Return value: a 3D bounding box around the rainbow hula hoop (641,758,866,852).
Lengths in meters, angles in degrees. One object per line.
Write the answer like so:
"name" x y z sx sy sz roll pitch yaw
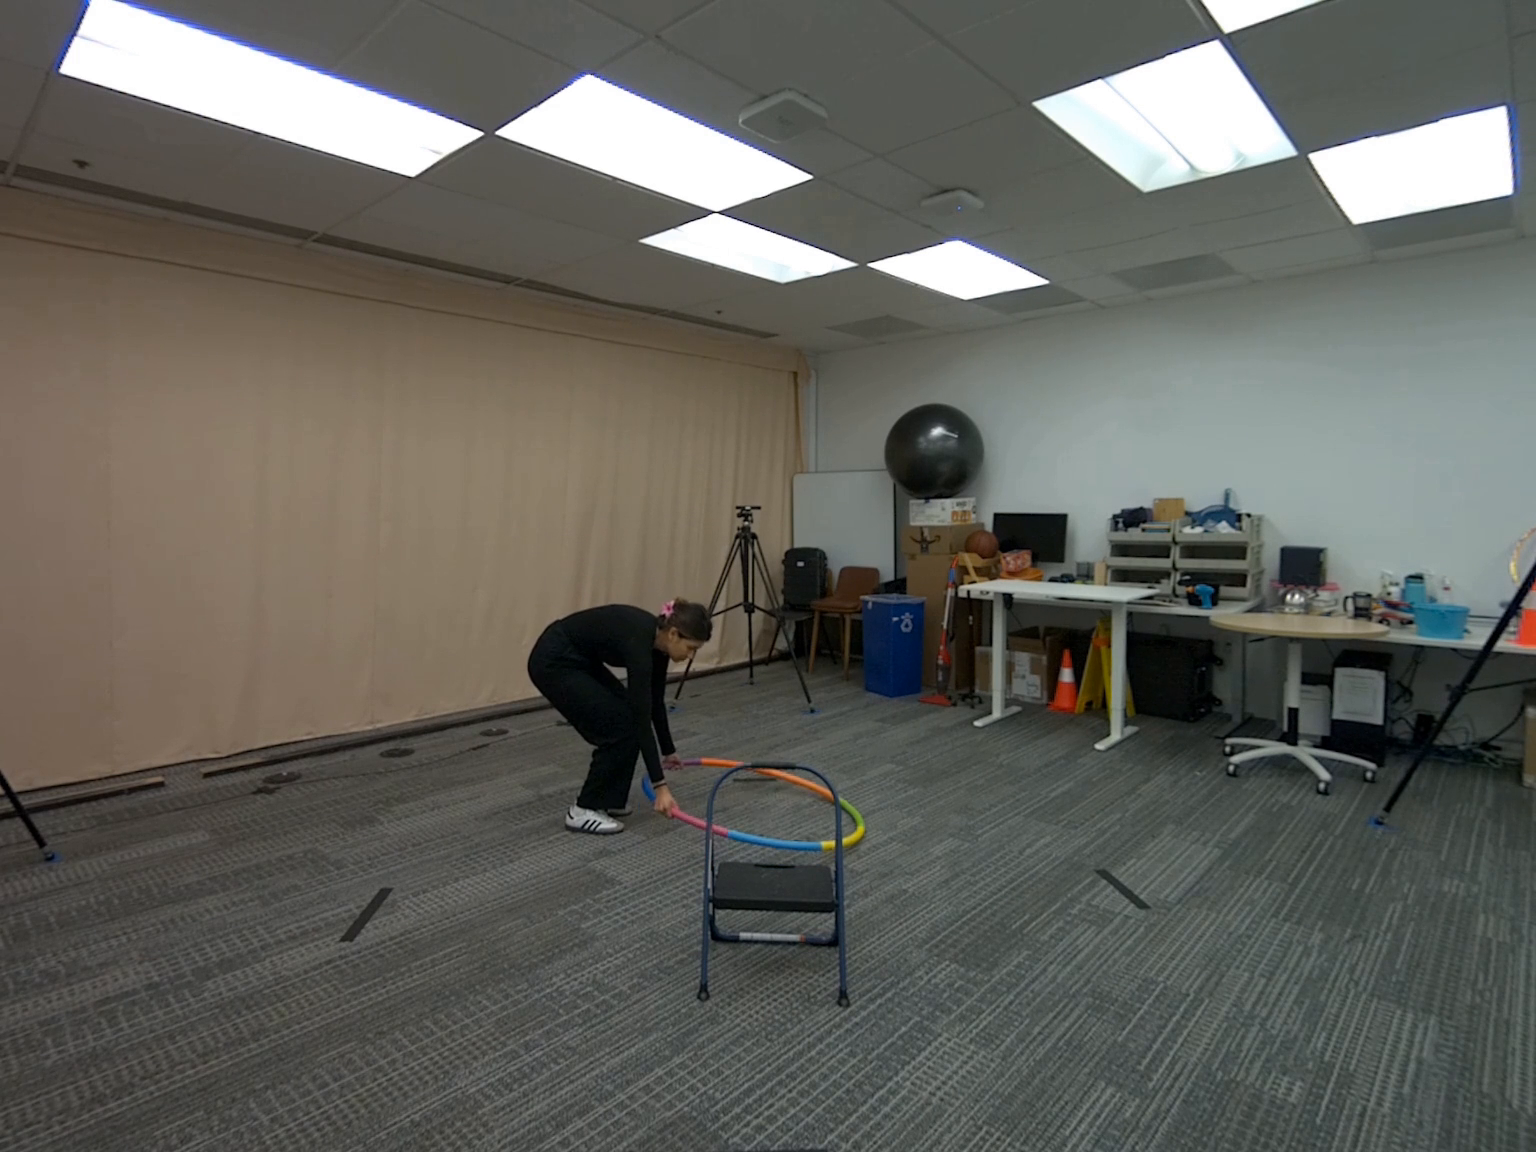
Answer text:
"rainbow hula hoop" -0.069 0.965 3.678 0.977 0.035 0.982 11 3 -2
